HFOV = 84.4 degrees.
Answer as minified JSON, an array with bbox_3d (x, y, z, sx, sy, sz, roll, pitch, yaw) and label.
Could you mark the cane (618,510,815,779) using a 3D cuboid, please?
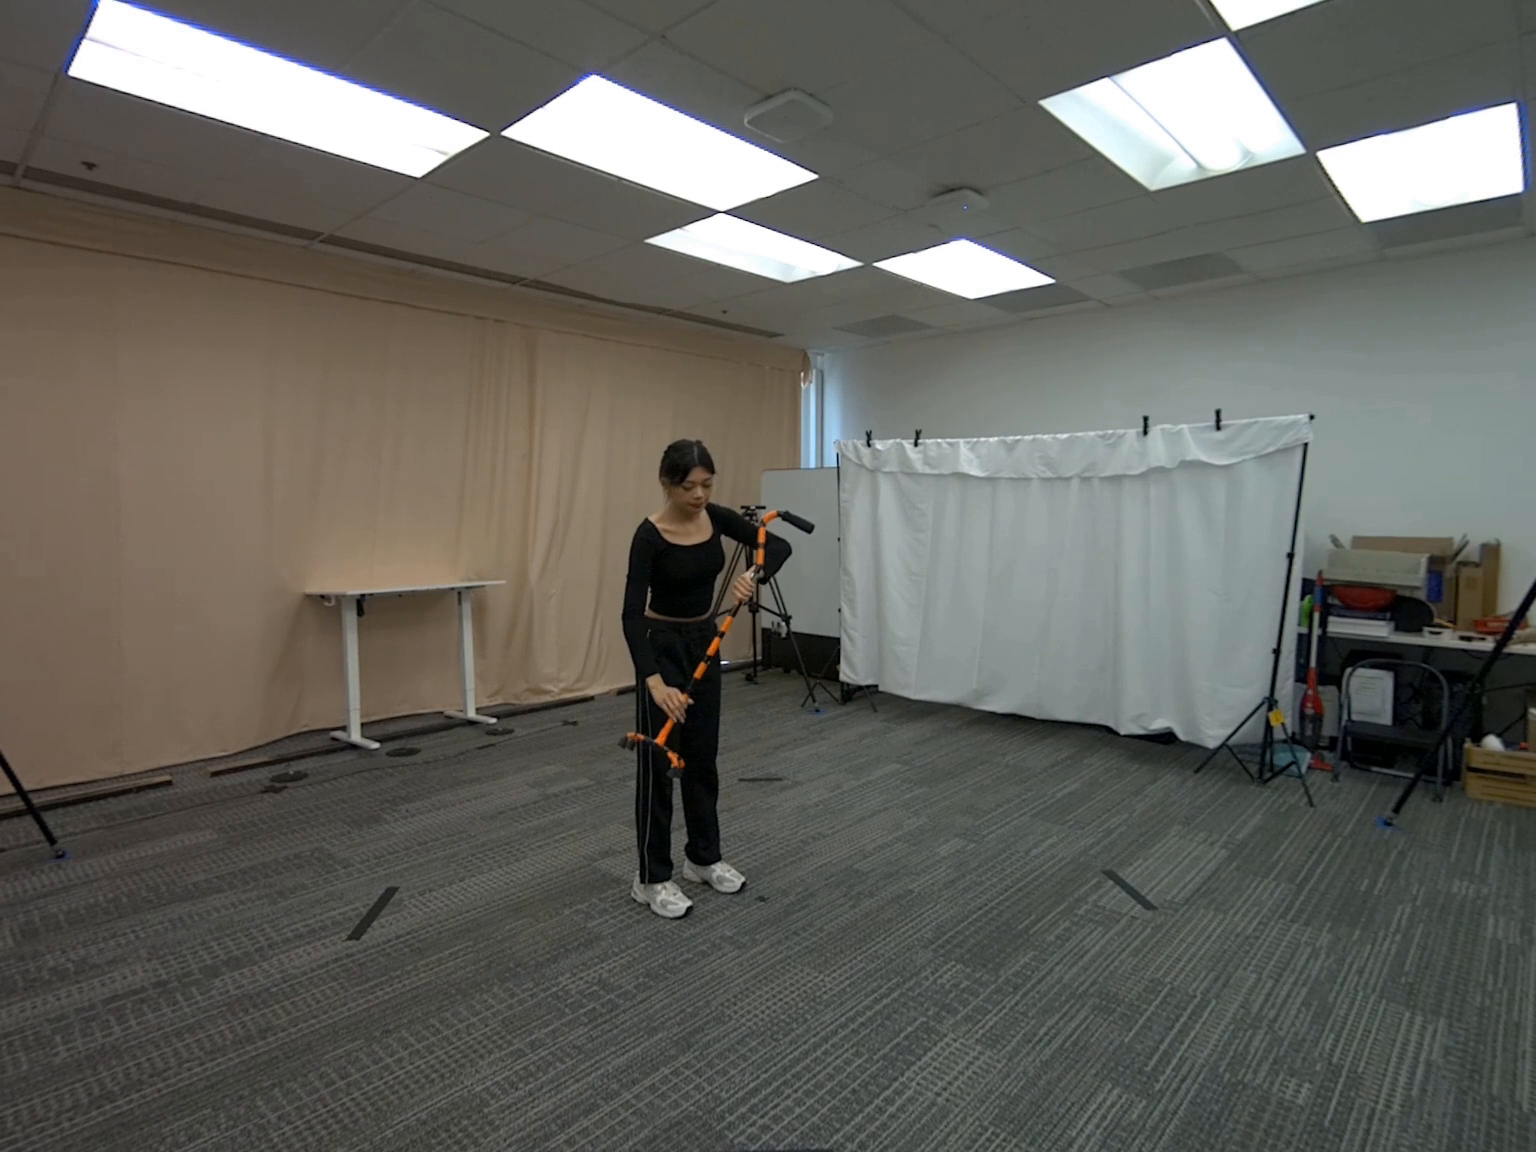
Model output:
[{"bbox_3d":[-0.140,0.188,2.678,0.210,0.908,0.149,26,-11,13],"label":"cane"}]
